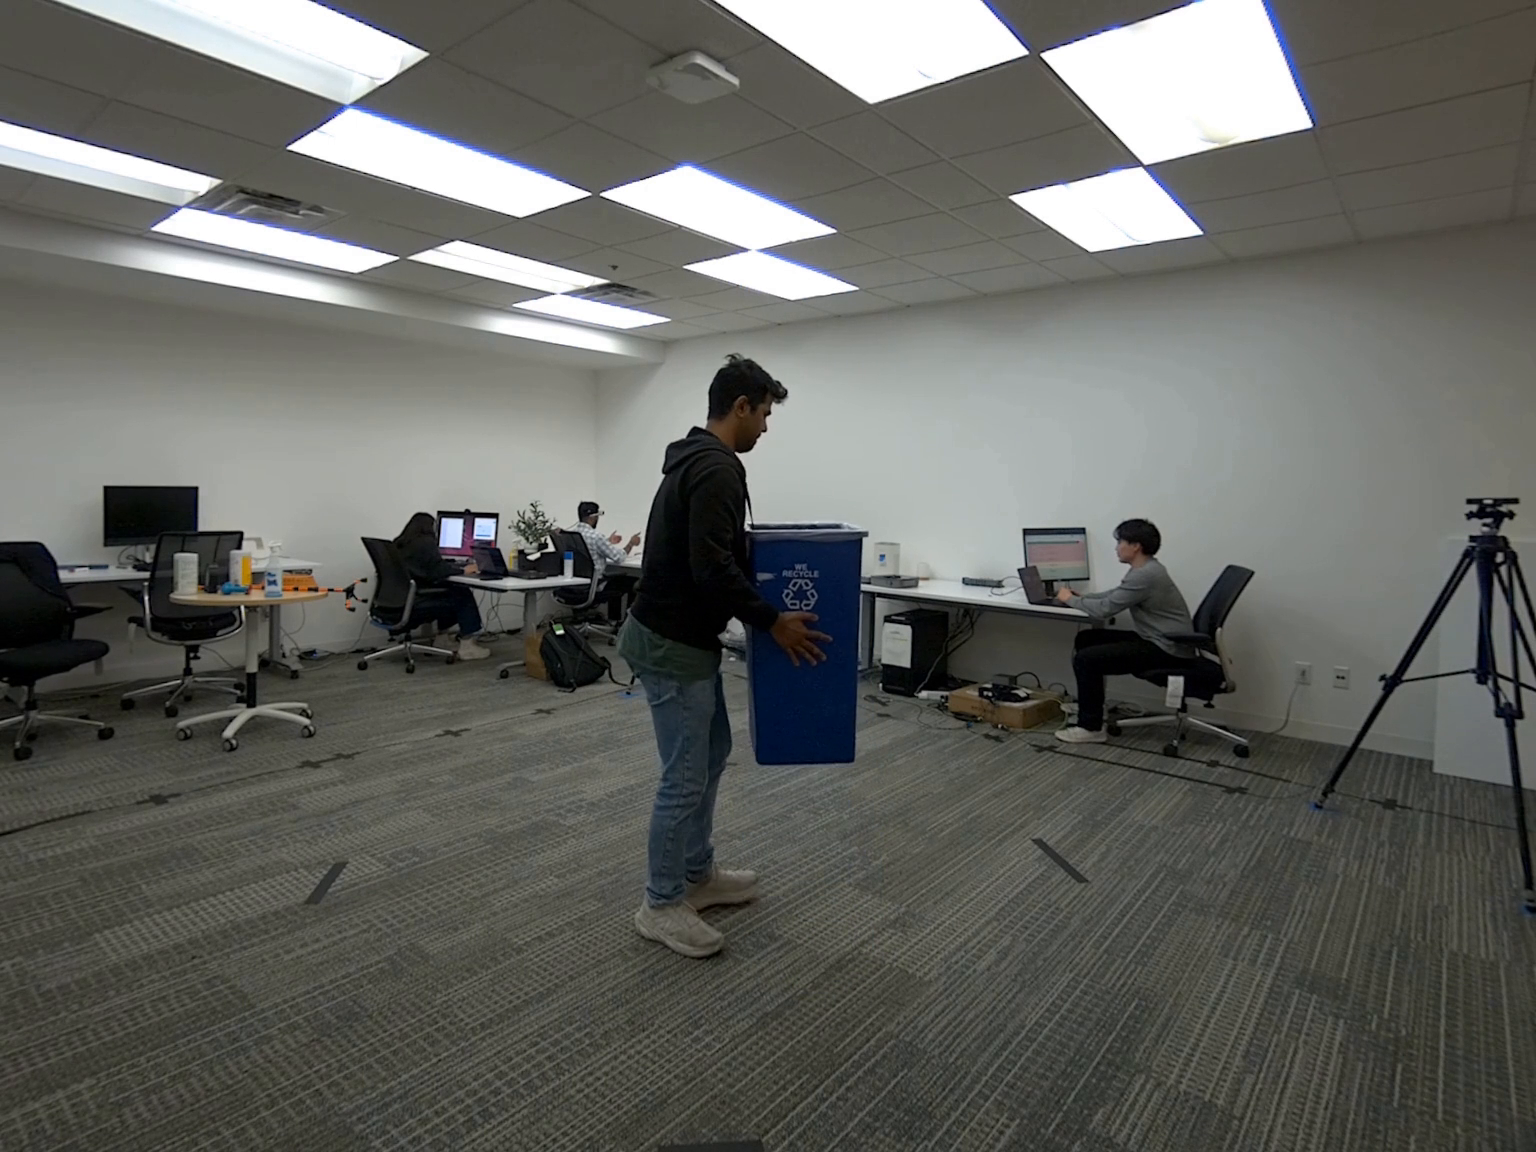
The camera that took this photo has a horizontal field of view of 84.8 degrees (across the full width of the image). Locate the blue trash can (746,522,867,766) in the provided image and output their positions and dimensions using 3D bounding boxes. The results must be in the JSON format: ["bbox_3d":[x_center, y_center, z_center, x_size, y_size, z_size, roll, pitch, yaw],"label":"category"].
[{"bbox_3d":[0.102,0.206,2.691,0.372,0.710,0.382,-2,5,-6],"label":"blue trash can"}]
